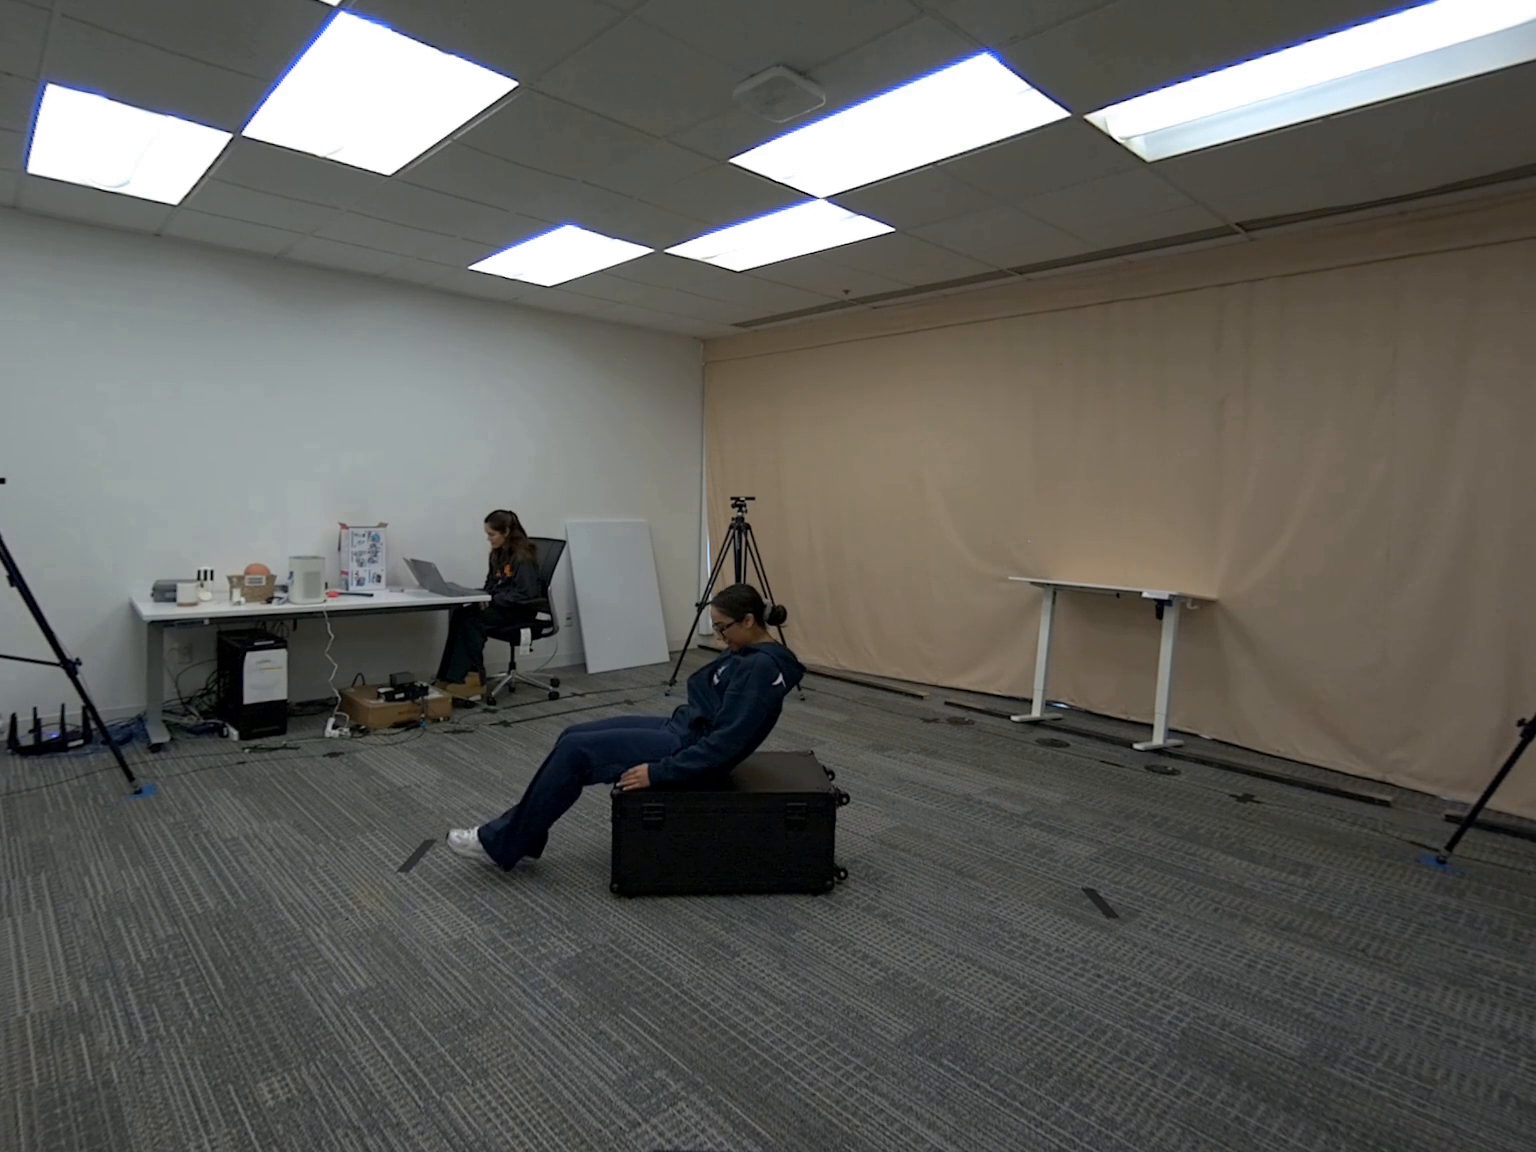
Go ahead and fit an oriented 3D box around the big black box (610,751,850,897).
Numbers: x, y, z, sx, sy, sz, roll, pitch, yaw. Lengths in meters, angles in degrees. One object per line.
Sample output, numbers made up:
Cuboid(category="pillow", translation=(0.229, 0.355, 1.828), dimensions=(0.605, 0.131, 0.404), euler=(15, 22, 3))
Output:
Cuboid(category="big black box", translation=(-0.146, 0.907, 3.155), dimensions=(0.857, 0.395, 0.525), euler=(1, 4, -6))
